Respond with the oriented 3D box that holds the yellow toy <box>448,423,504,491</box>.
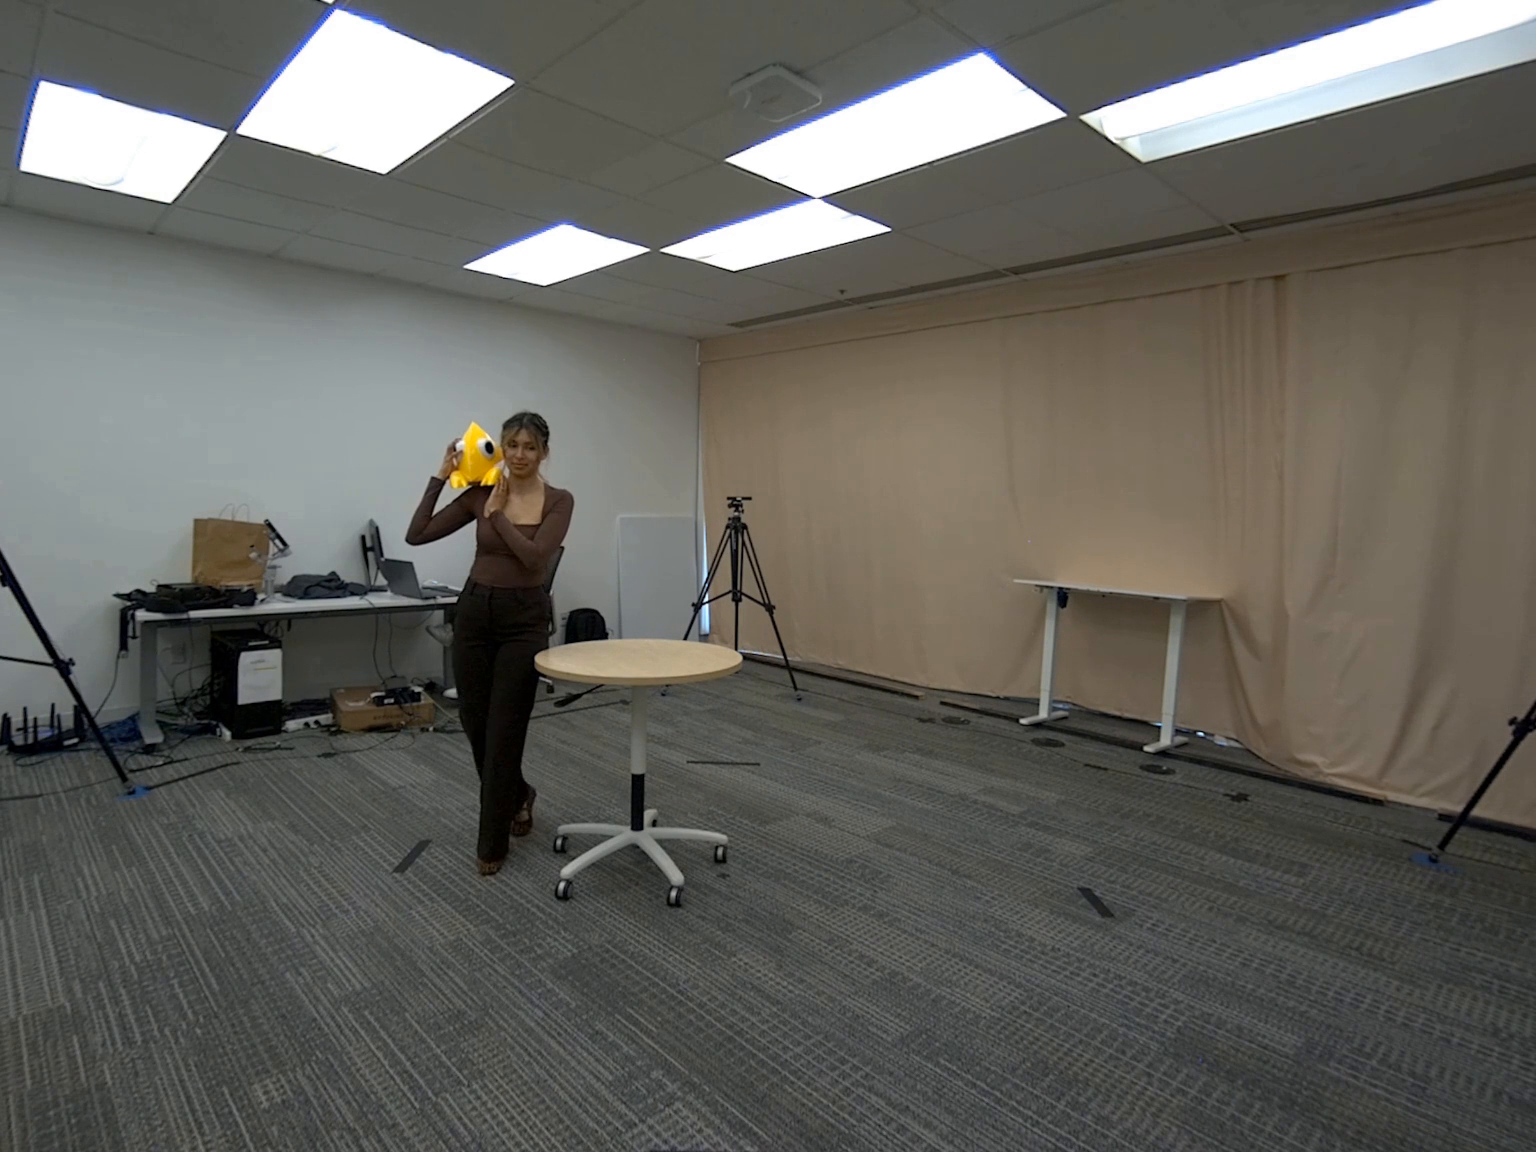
[{"bbox_3d":[-1.121,-0.466,3.208,0.204,0.228,0.195,-6,14,-2],"label":"yellow toy"}]
